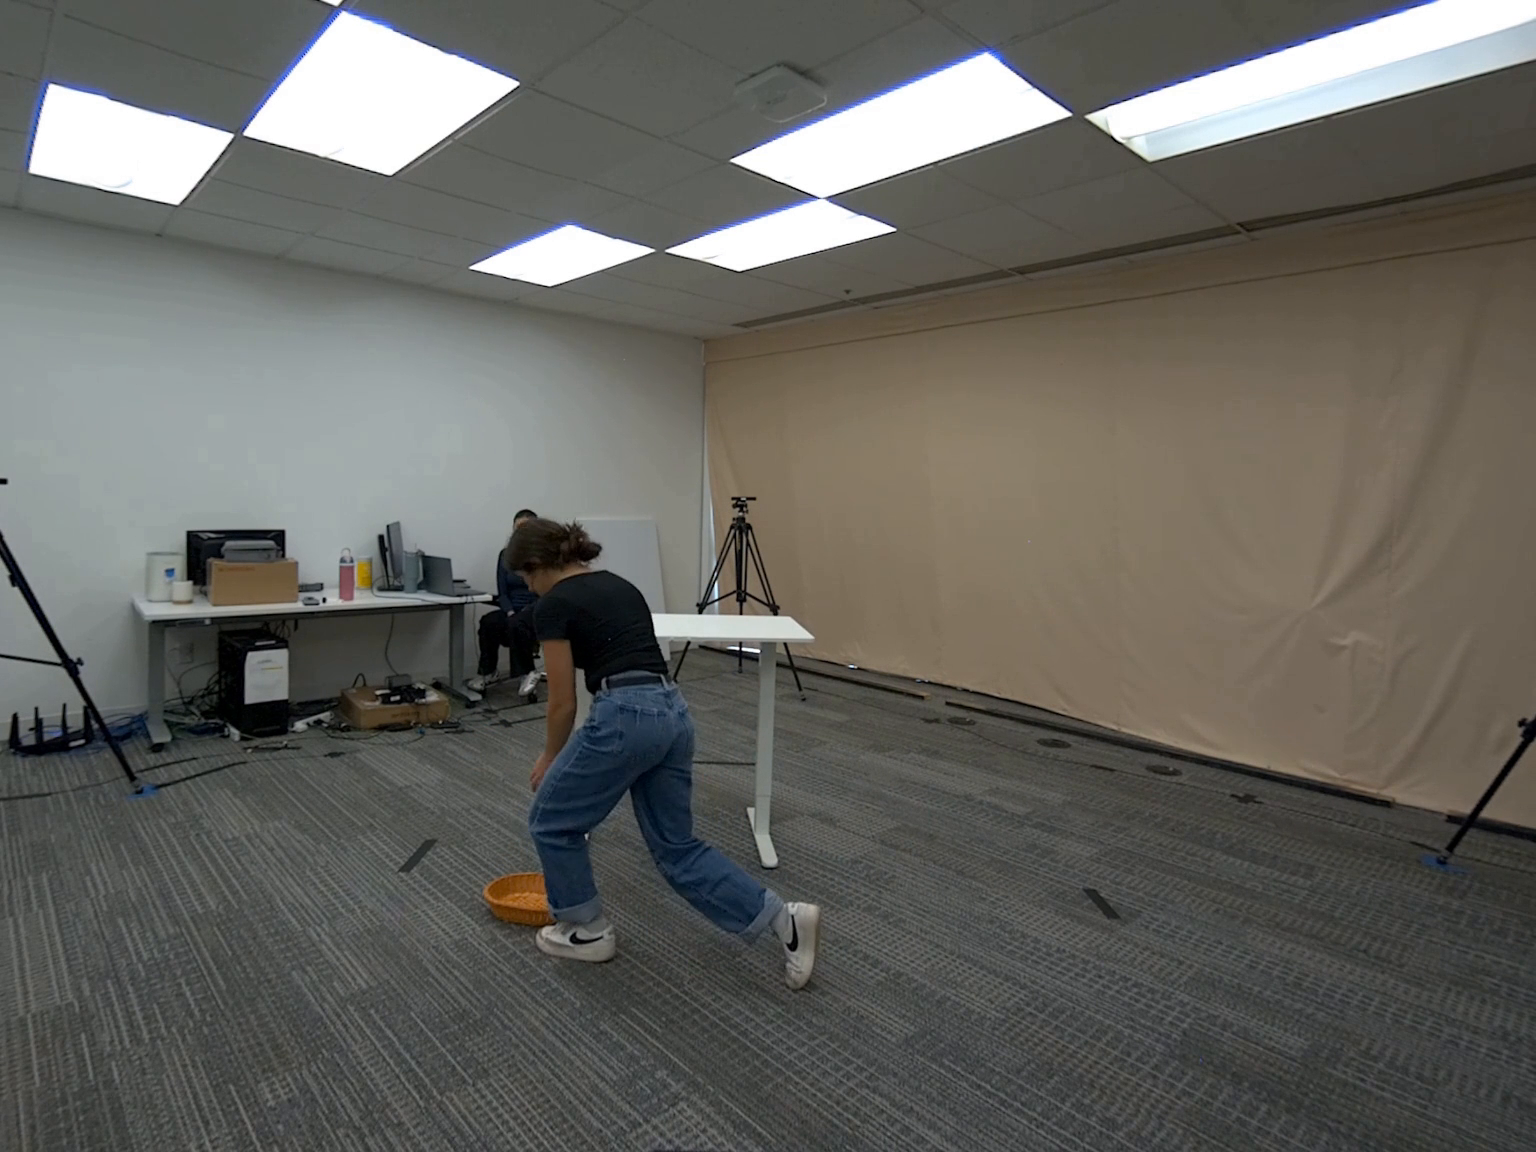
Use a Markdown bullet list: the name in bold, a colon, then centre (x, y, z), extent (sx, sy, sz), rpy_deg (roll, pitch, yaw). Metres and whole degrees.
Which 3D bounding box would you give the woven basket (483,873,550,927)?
- **woven basket**: centre (-0.781, 1.081, 2.804), extent (0.356, 0.073, 0.249), rpy_deg (3, 5, 19)
